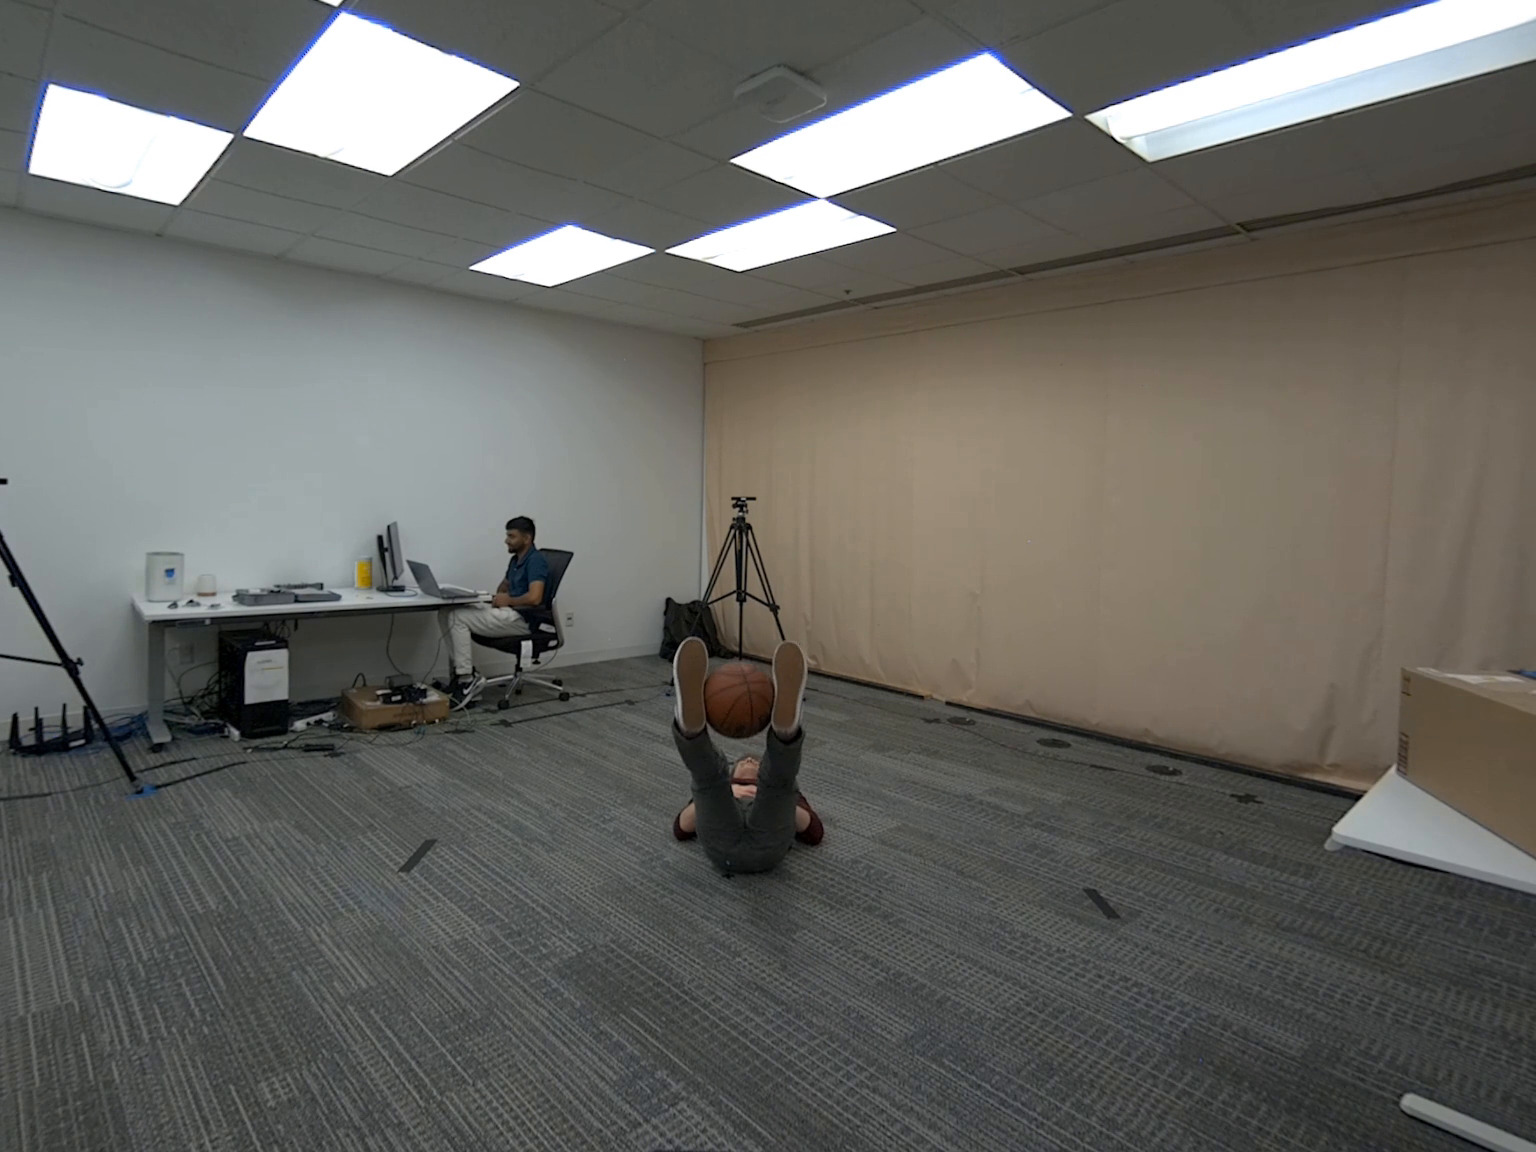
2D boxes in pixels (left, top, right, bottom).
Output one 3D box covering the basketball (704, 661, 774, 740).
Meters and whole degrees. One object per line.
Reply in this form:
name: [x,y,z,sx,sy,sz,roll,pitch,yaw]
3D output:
basketball: [-0.101,0.393,2.621,0.236,0.234,0.237,0,7,-1]
